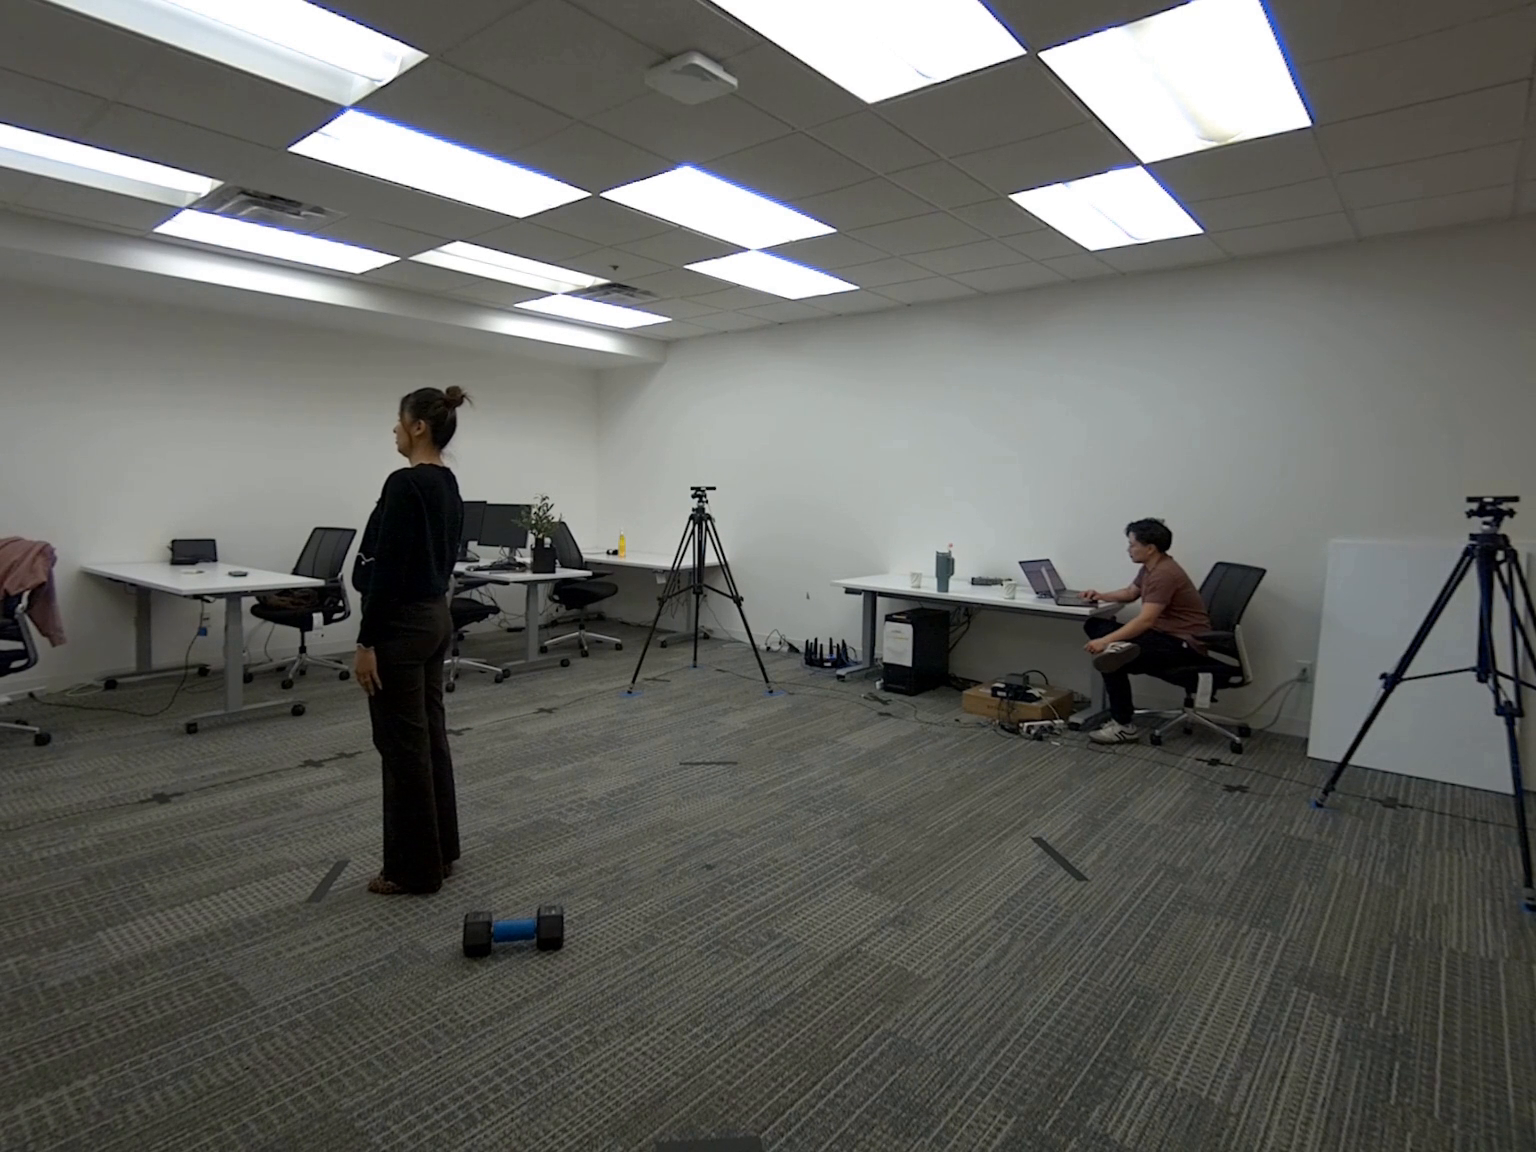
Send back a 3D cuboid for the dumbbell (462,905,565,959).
[{"bbox_3d":[-0.769,1.060,2.549,0.290,0.120,0.112,0,32,-12],"label":"dumbbell"}]
